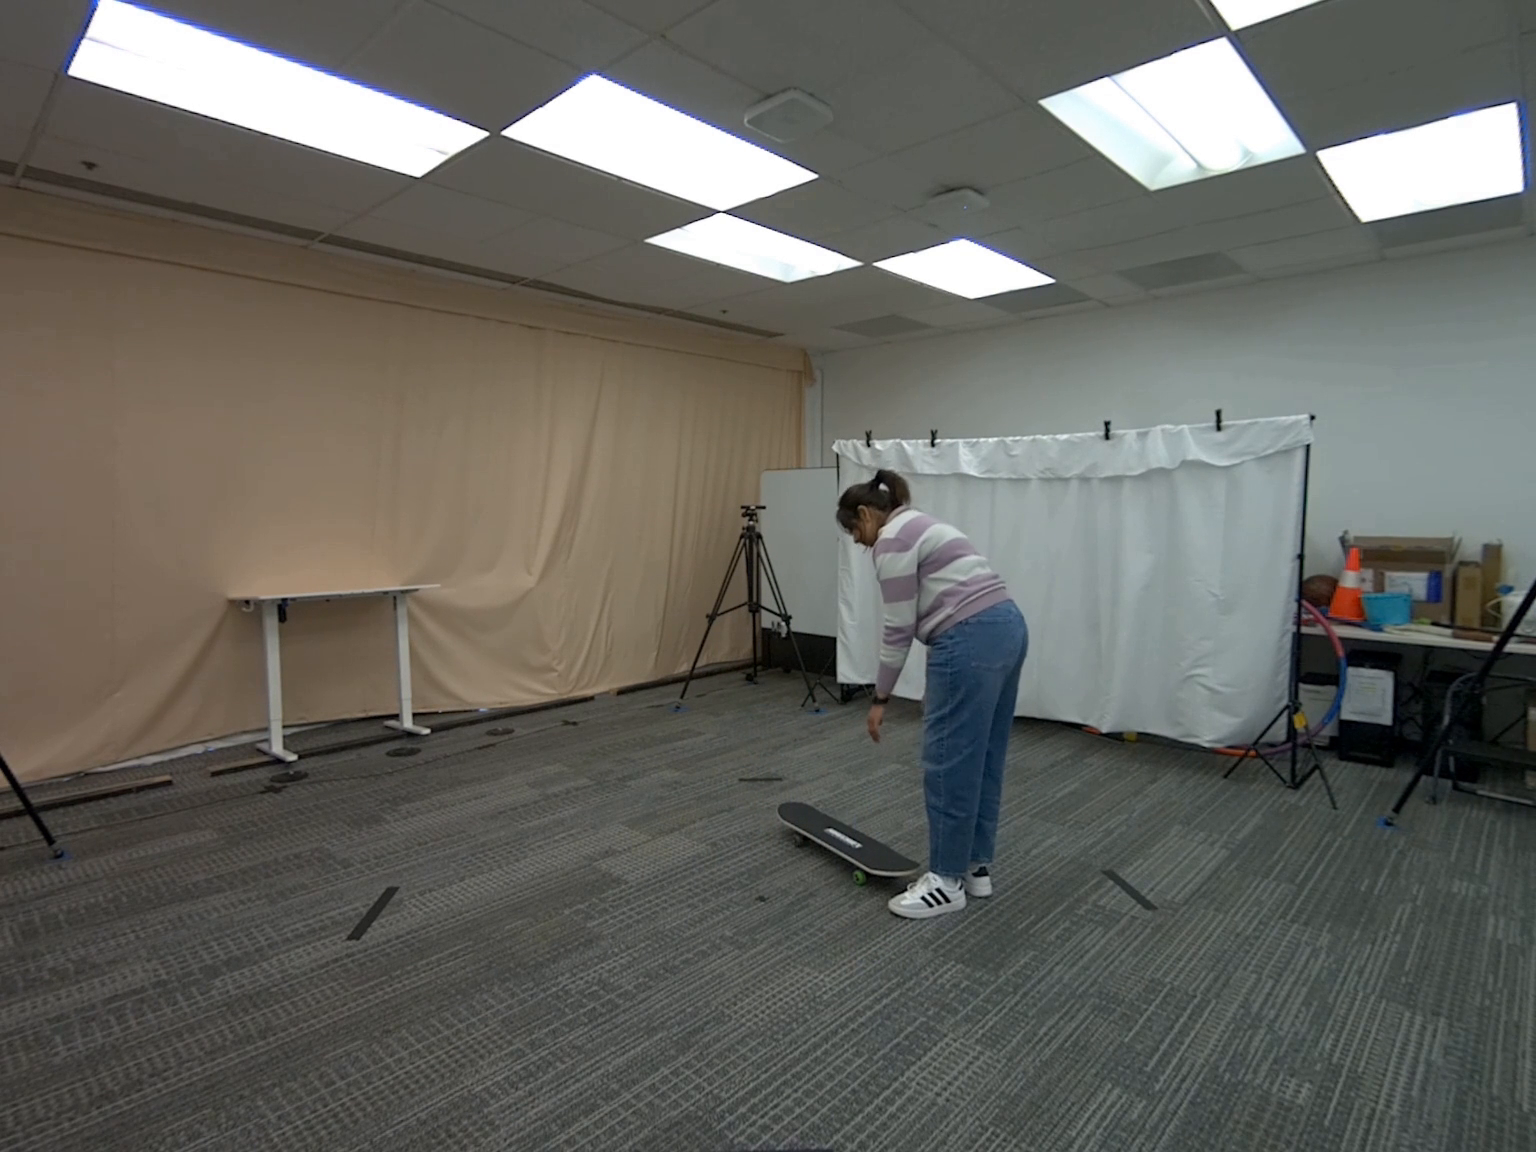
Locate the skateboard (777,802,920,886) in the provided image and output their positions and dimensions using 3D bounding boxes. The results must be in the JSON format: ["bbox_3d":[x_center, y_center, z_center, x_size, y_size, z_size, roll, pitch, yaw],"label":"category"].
[{"bbox_3d":[0.298,1.054,3.304,0.188,0.110,0.809,-2,5,-31],"label":"skateboard"}]
